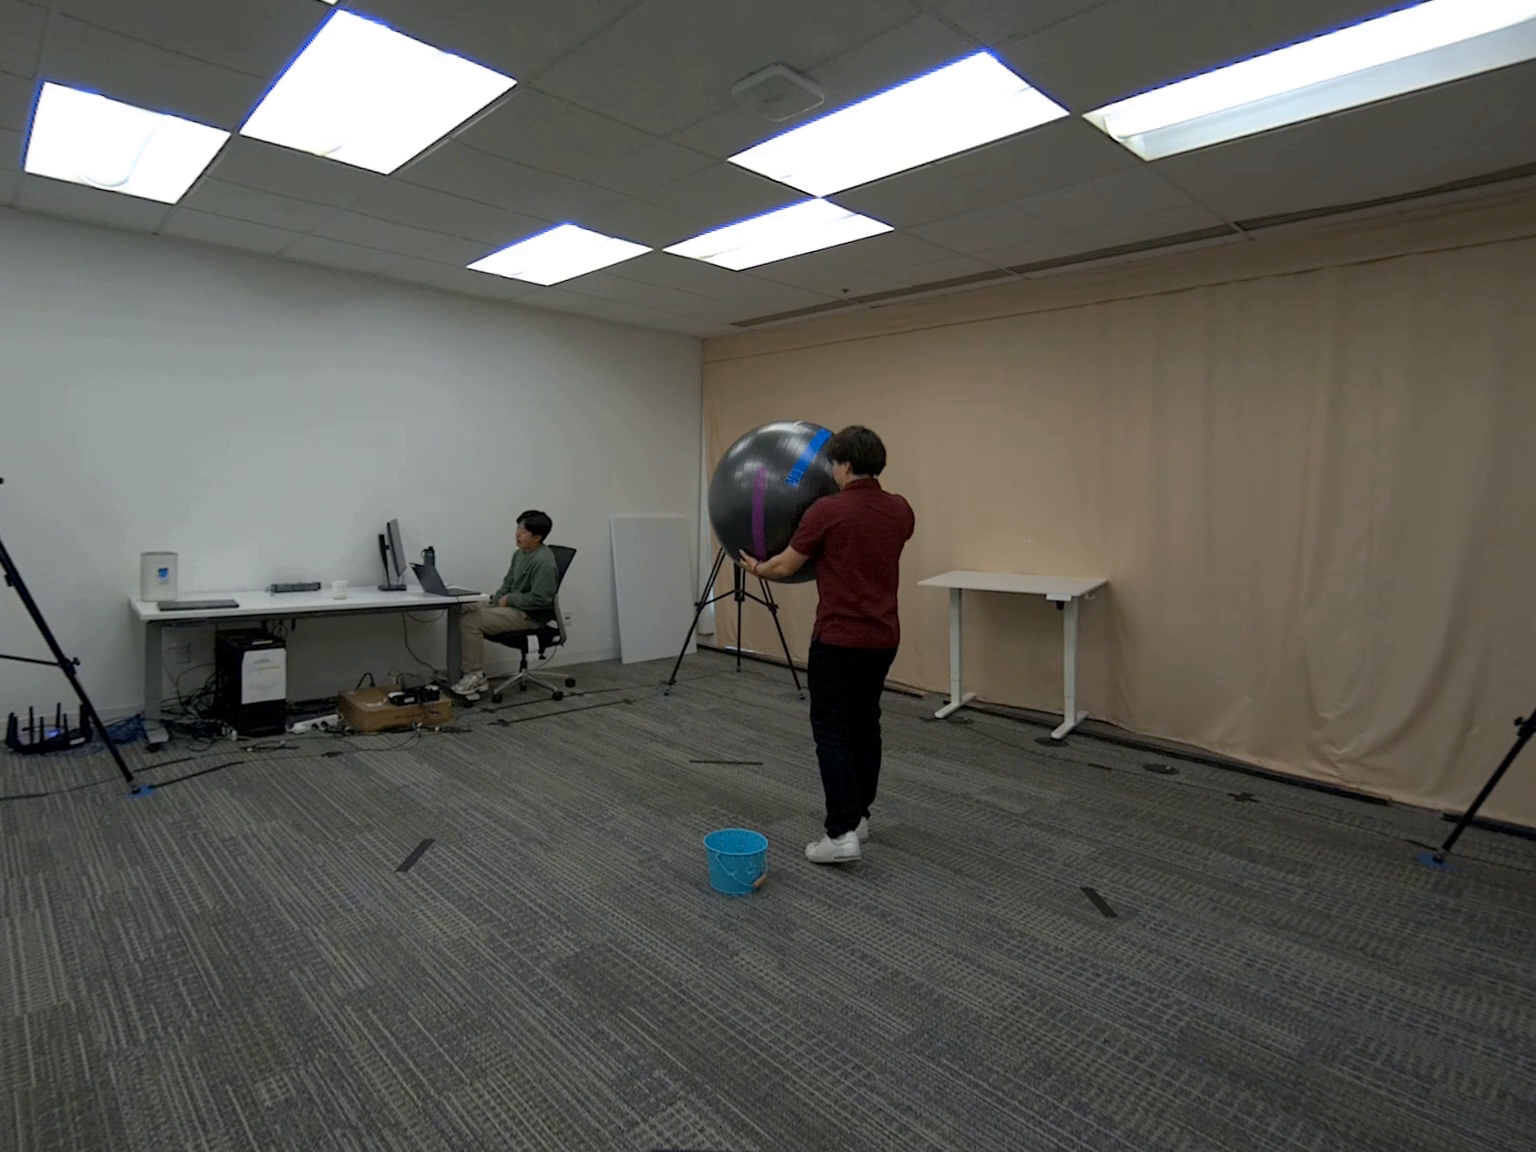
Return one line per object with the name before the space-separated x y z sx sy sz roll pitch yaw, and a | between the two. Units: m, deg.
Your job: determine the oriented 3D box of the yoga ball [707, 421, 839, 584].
yoga ball | 0.088 -0.336 3.930 0.757 0.756 0.761 1 4 -1
